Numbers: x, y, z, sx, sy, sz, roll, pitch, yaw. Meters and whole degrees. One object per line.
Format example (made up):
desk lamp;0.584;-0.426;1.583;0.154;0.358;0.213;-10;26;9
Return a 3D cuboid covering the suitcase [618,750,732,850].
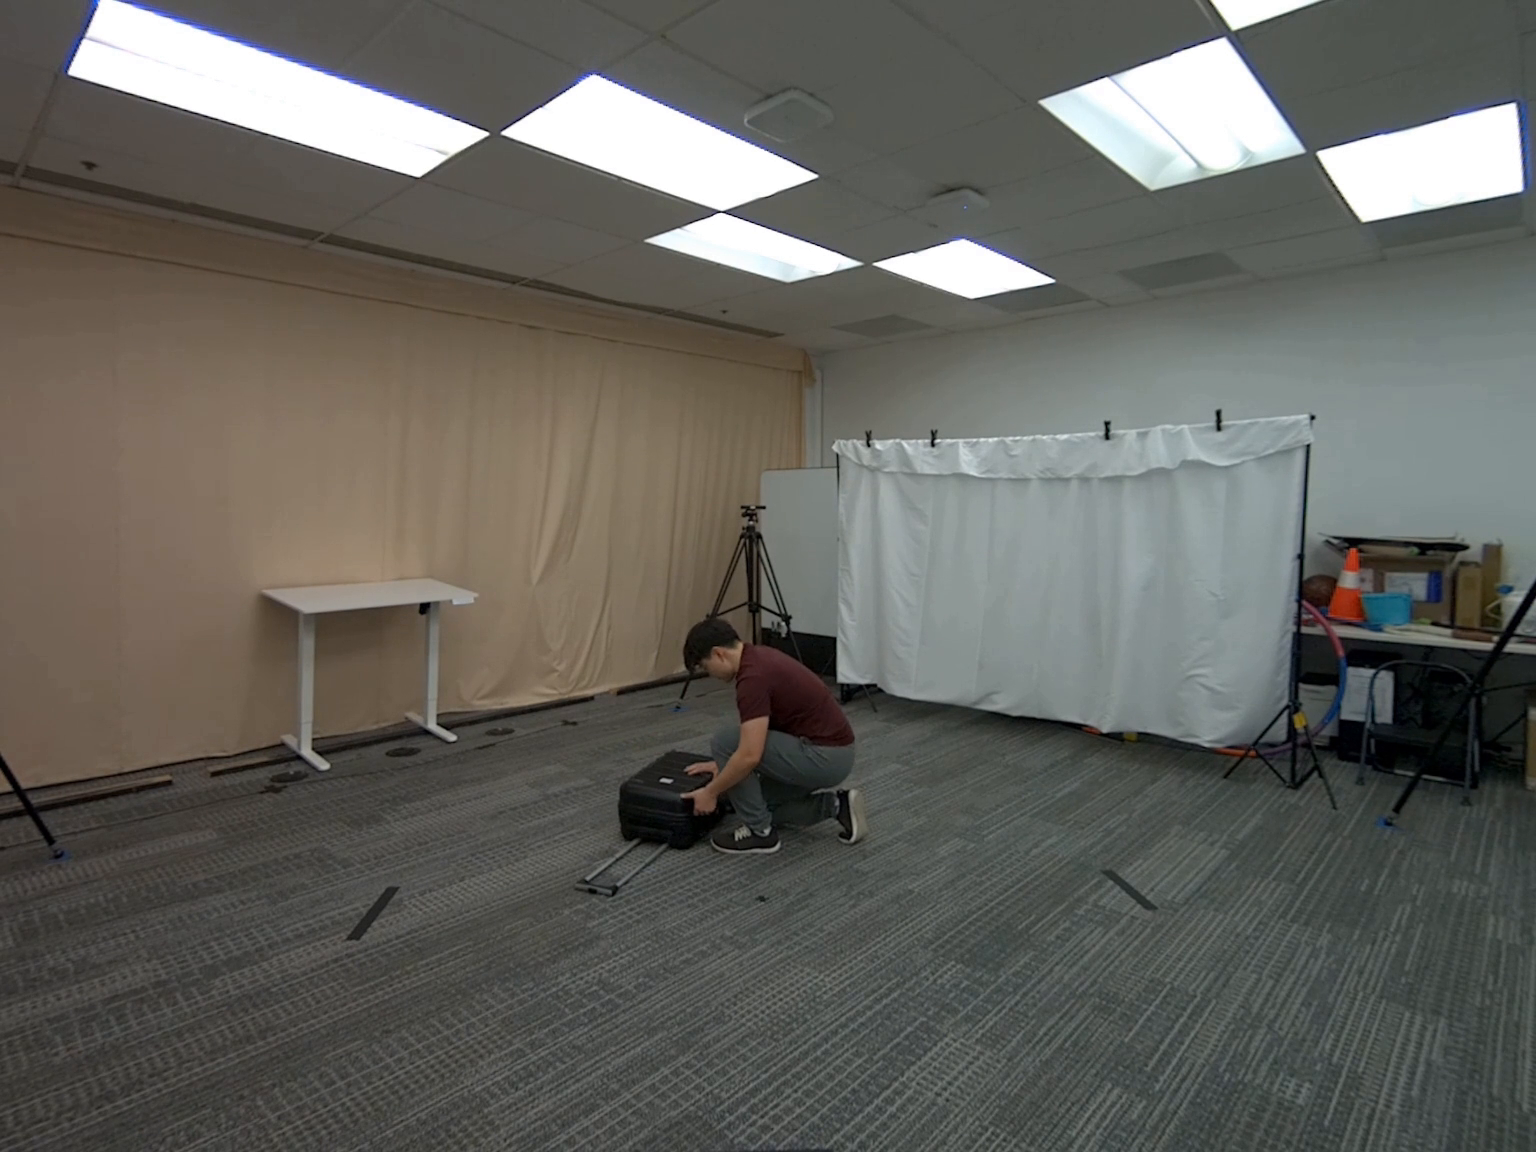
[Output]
suitcase;-0.462;0.984;3.483;0.393;0.256;0.958;4;6;21
